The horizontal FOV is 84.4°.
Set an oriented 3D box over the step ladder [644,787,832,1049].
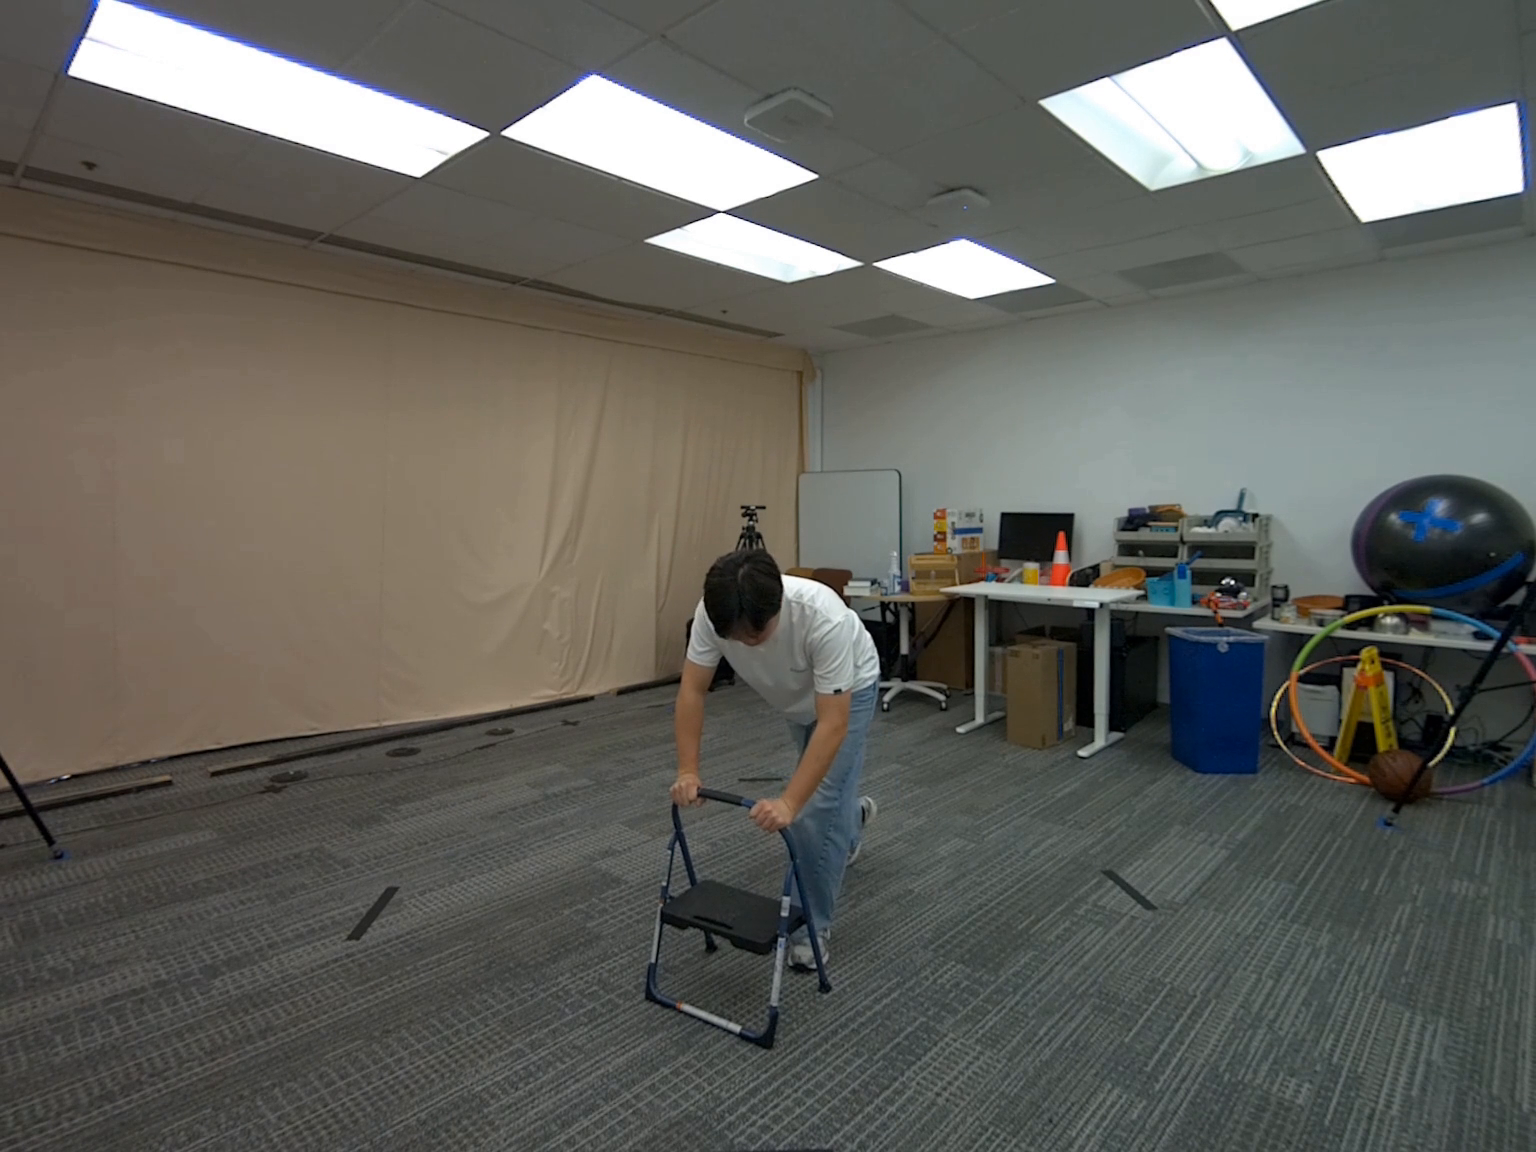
[{"bbox_3d":[-0.087,0.891,2.388,0.443,0.605,0.340,2,4,32],"label":"step ladder"}]
